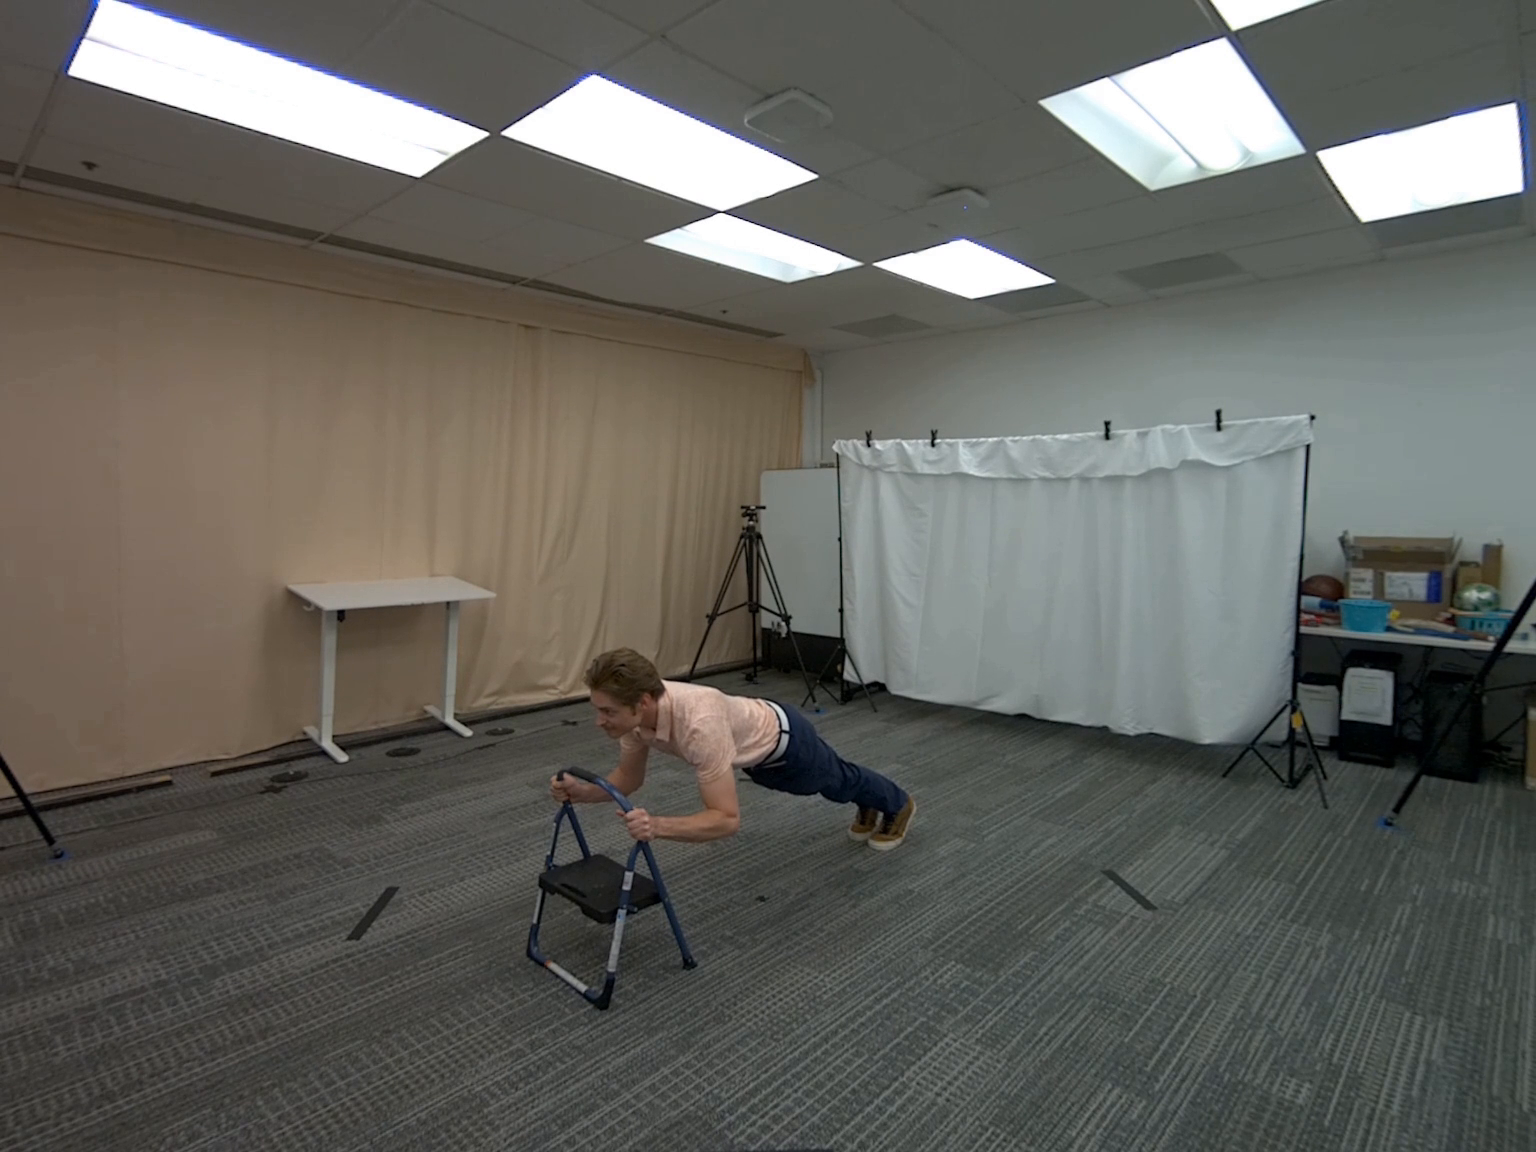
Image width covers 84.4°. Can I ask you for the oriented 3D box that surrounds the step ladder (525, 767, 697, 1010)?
[{"bbox_3d":[-0.488,0.882,2.565,0.445,0.605,0.338,3,5,44],"label":"step ladder"}]
